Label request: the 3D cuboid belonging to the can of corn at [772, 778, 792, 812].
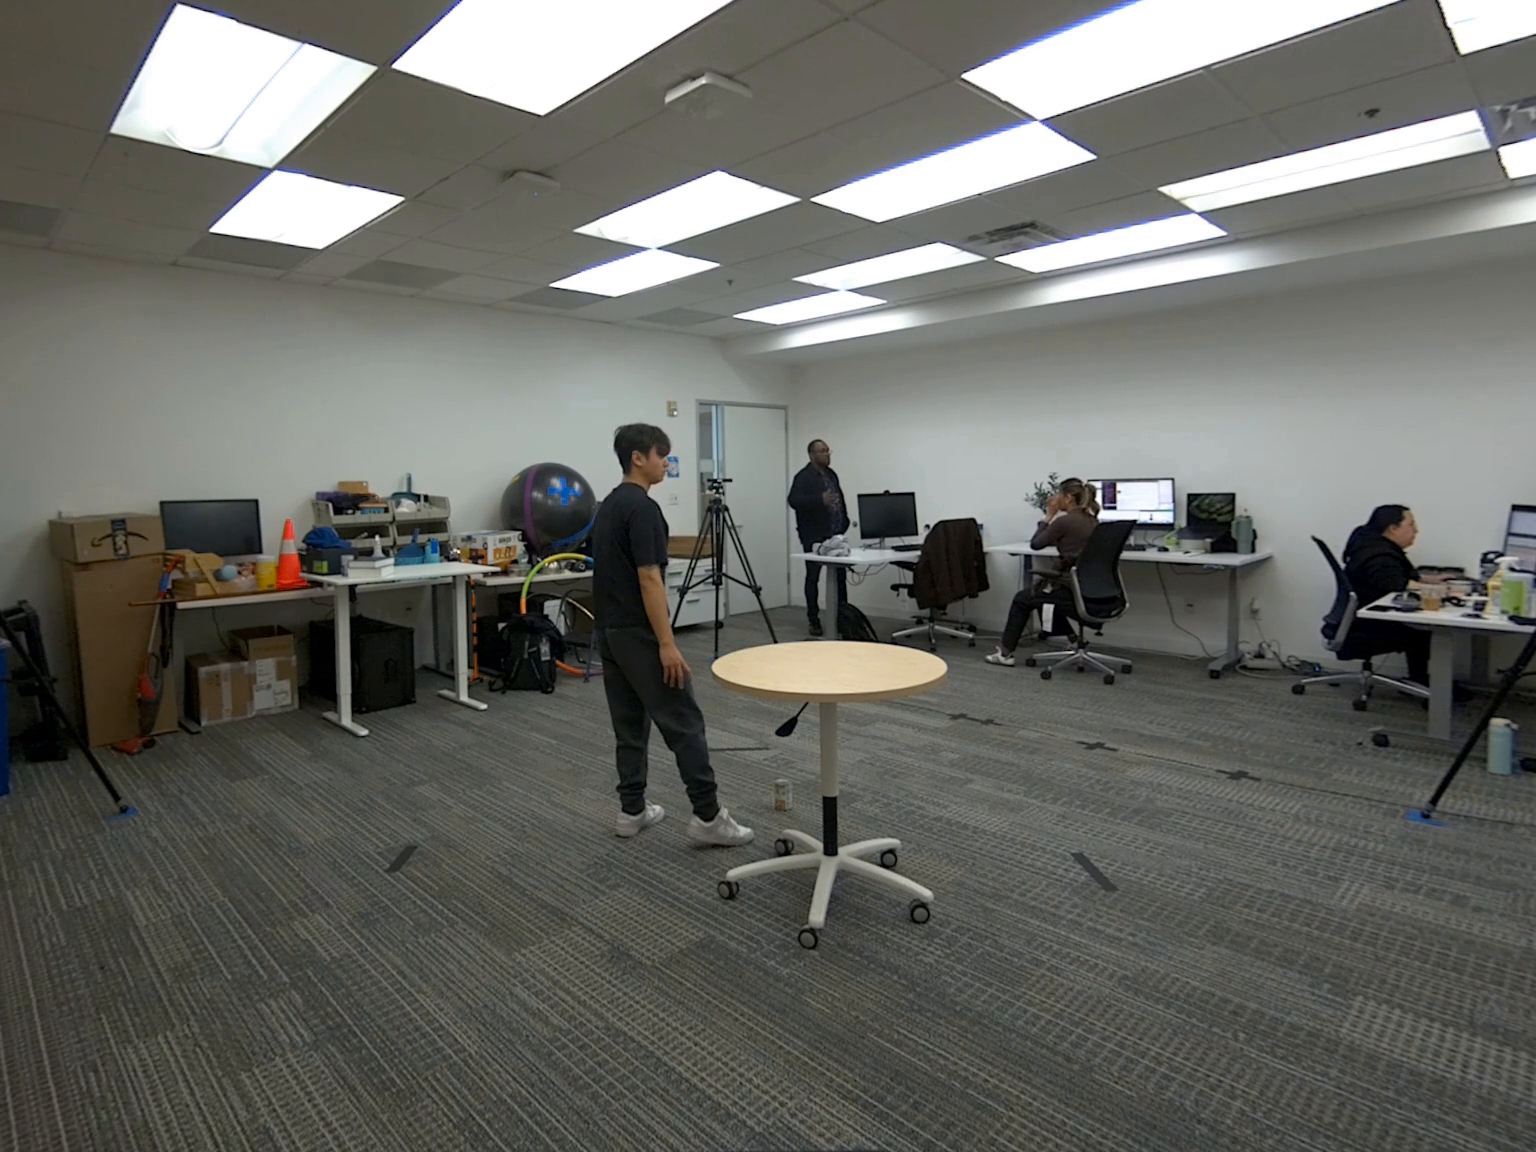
[{"bbox_3d":[0.063,0.933,3.629,0.074,0.111,0.074,-2,4,-2],"label":"can of corn"}]
